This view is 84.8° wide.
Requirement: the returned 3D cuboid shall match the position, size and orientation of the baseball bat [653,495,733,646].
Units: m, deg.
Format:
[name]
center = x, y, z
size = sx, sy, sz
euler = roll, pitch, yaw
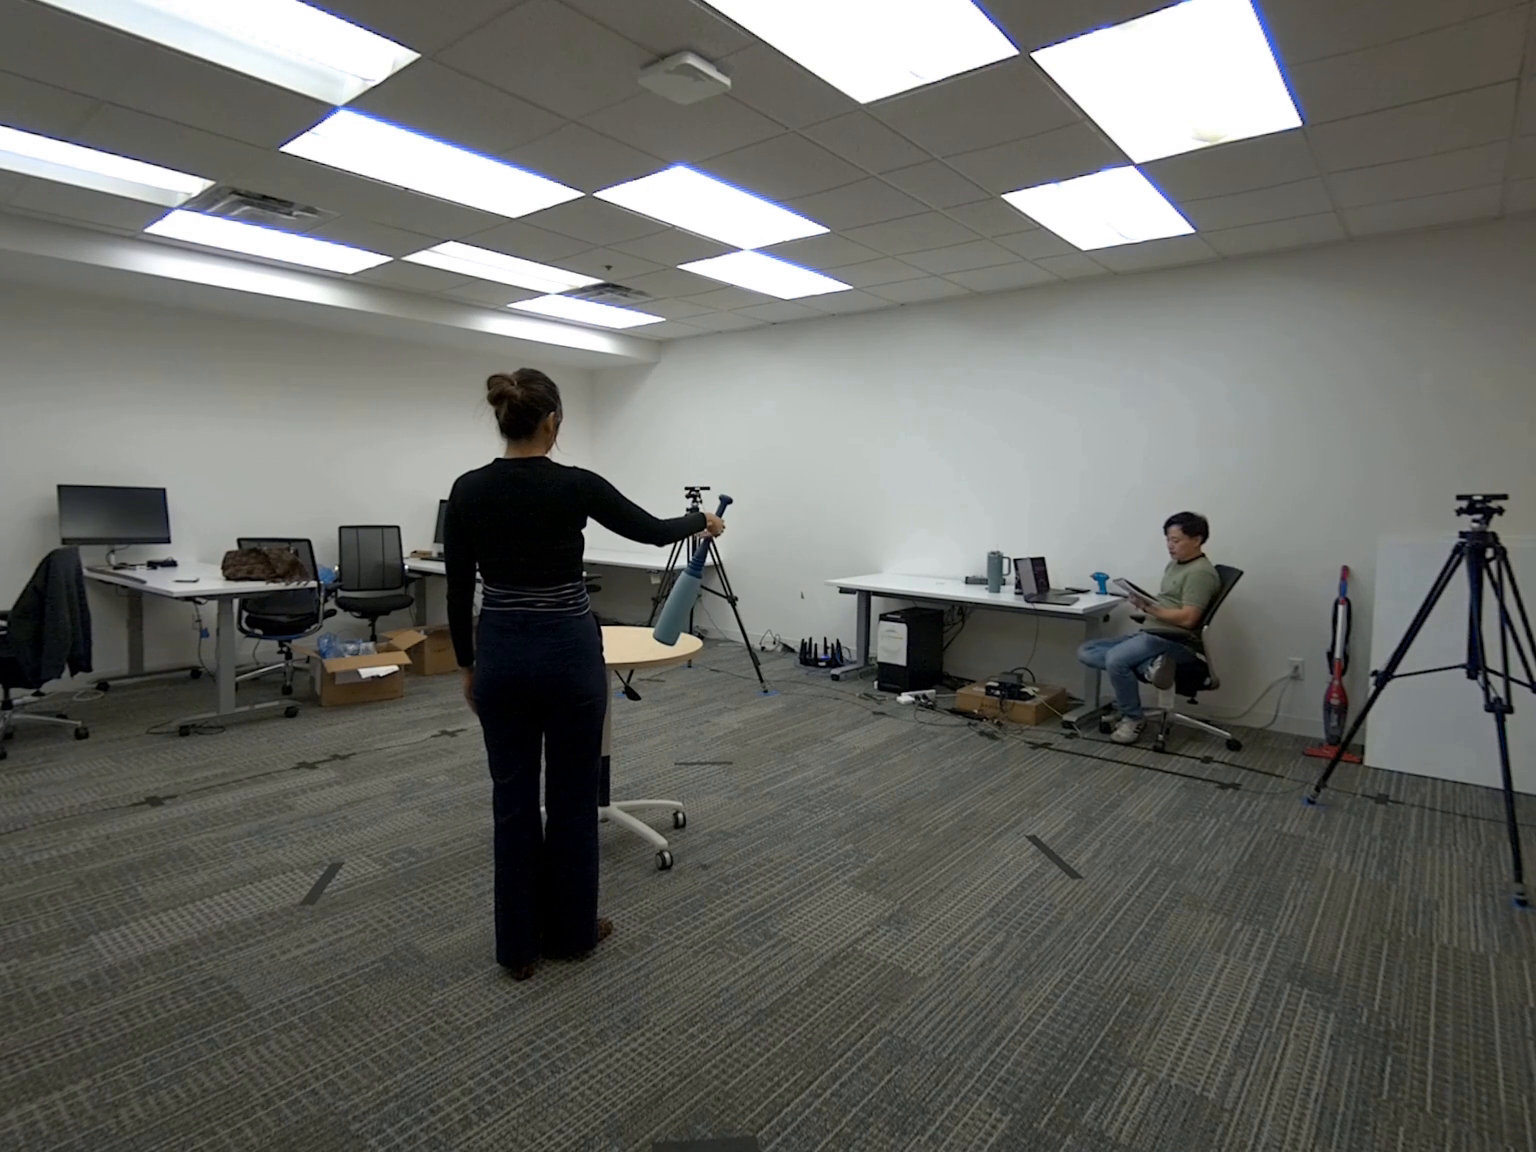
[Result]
[baseball bat]
center = -0.247, -0.030, 2.867
size = 0.089, 0.542, 0.089
euler = 23, 2, -3
